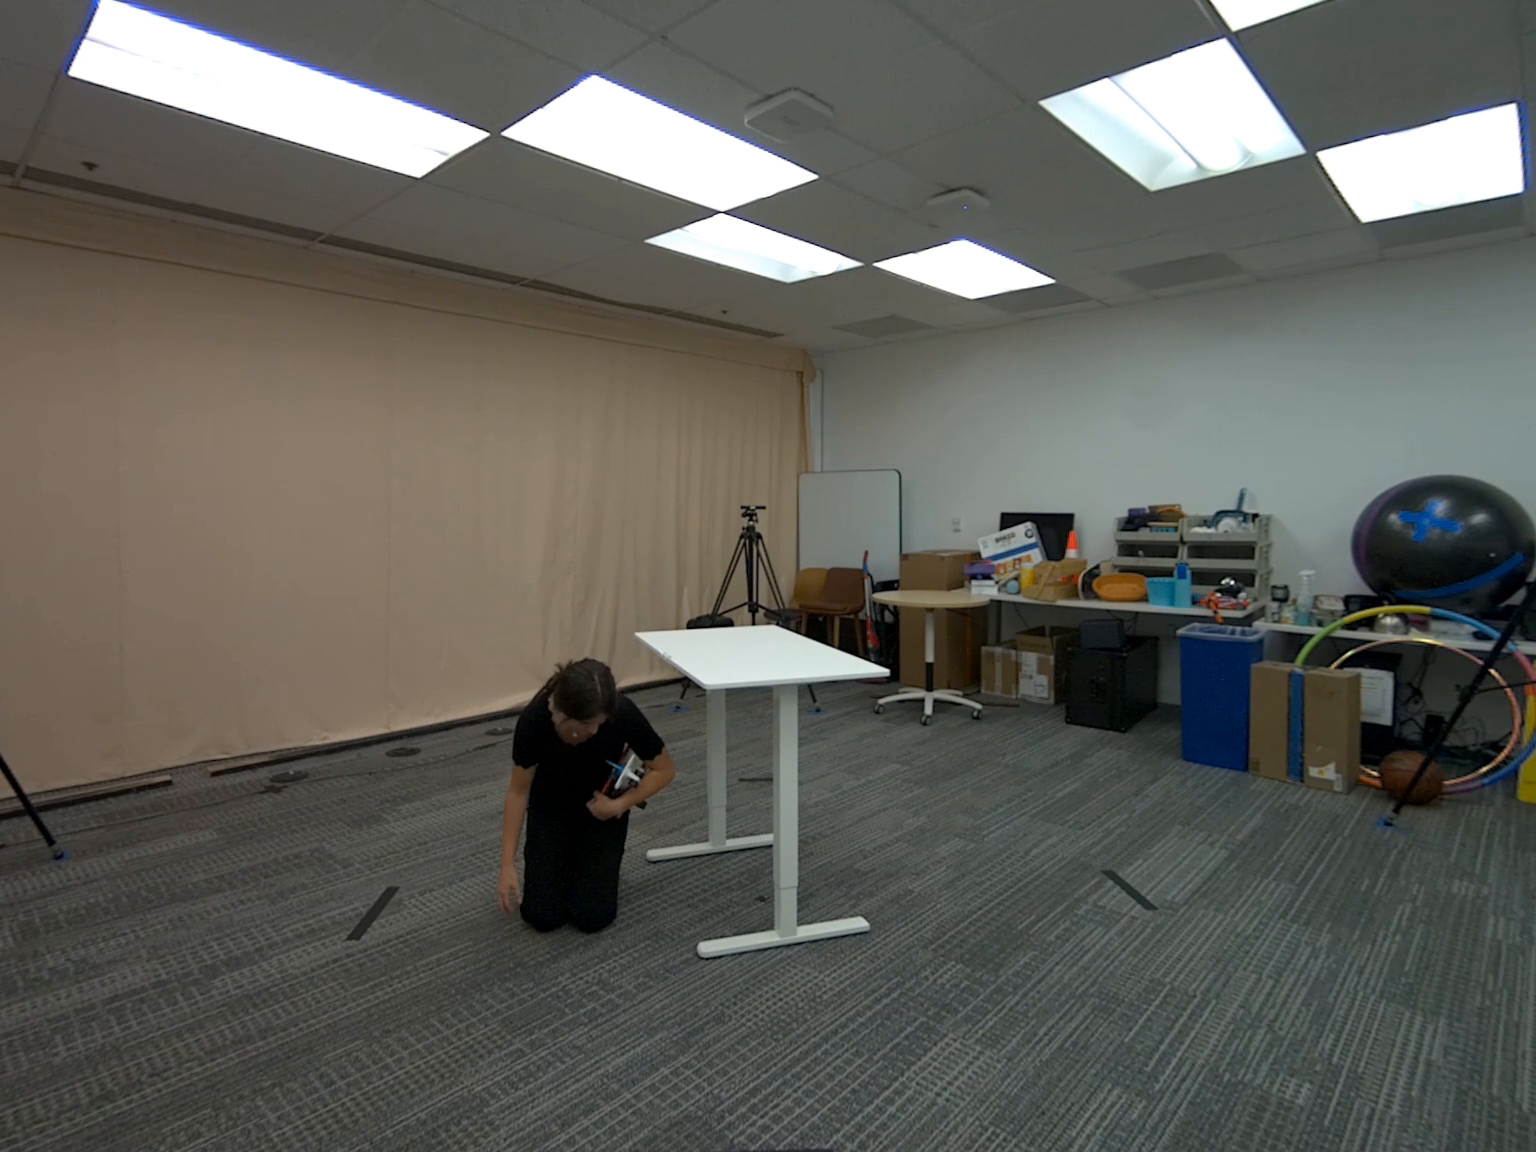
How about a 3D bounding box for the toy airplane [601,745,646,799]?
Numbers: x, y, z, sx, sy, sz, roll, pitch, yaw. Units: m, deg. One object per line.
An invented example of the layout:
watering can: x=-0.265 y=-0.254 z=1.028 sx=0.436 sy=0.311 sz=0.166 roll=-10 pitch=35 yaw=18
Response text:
toy airplane: x=-0.464 y=0.659 z=2.820 sx=0.160 sy=0.255 sz=0.249 roll=20 pitch=37 yaw=18
